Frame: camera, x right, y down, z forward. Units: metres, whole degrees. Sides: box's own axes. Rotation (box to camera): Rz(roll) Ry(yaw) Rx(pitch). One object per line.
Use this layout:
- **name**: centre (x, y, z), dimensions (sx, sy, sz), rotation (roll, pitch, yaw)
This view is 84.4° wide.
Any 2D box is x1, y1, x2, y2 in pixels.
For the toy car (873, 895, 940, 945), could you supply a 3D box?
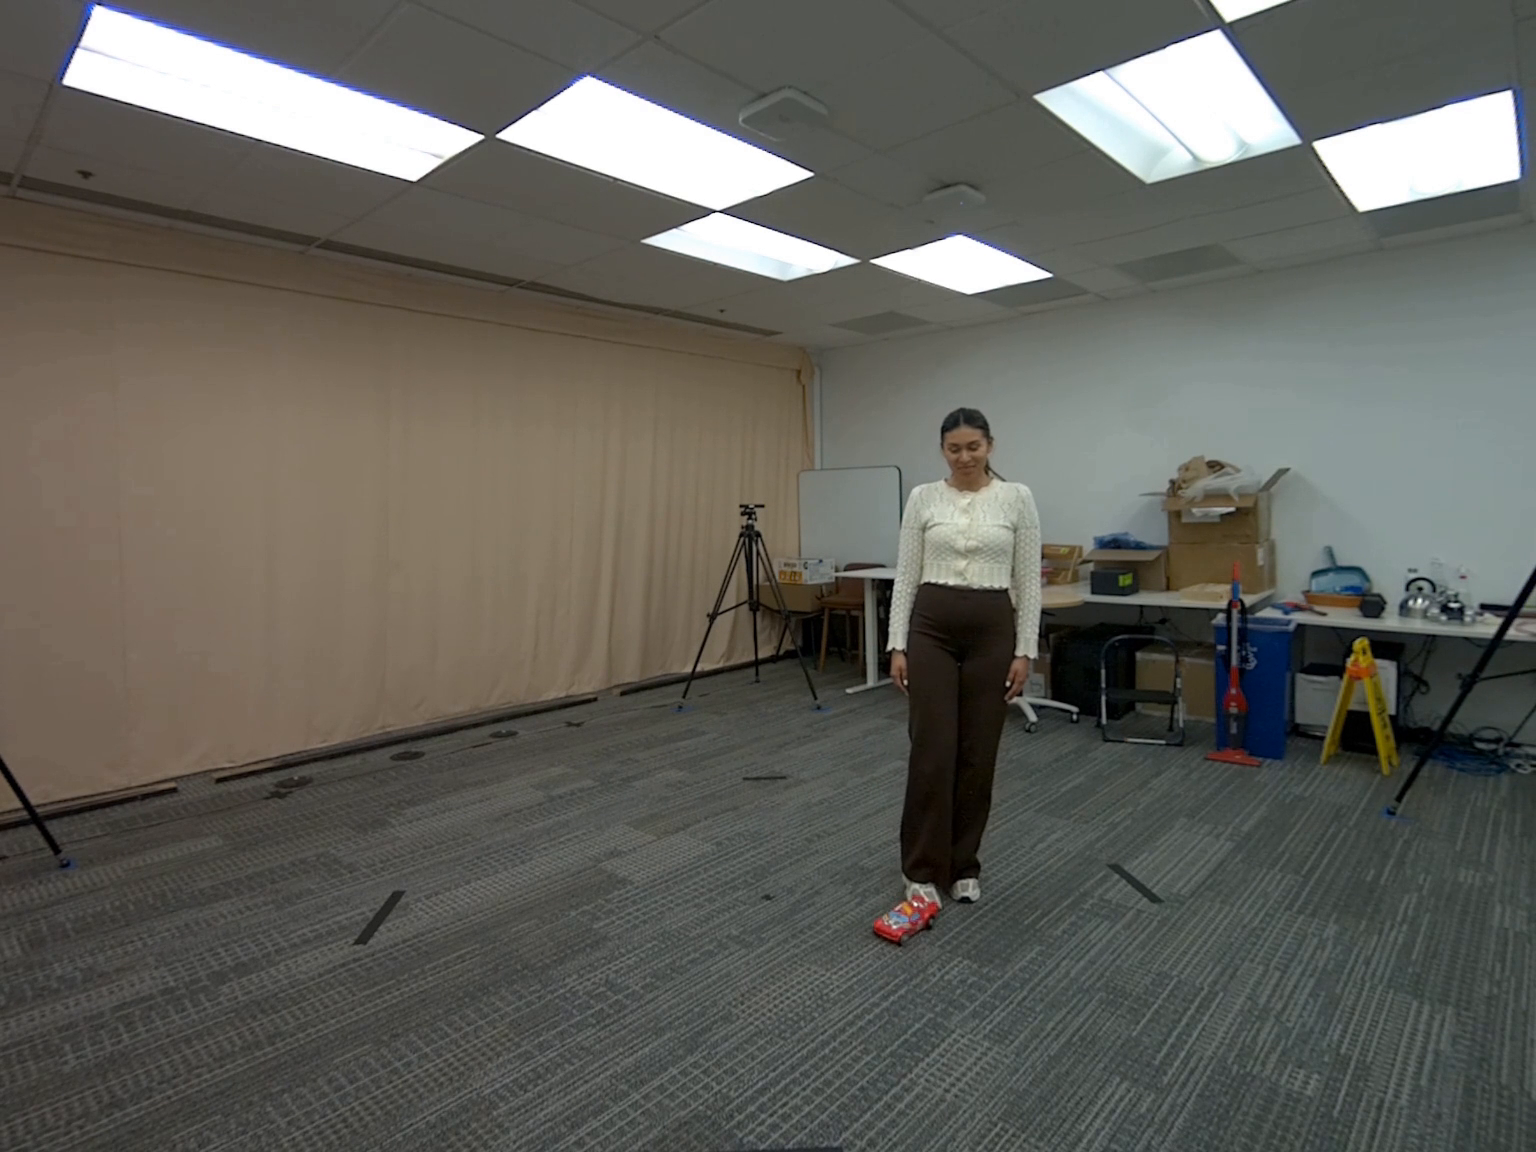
- **toy car**: centre (0.458, 1.119, 2.741), dimensions (0.248, 0.082, 0.135), rotation (-20, 17, -41)
